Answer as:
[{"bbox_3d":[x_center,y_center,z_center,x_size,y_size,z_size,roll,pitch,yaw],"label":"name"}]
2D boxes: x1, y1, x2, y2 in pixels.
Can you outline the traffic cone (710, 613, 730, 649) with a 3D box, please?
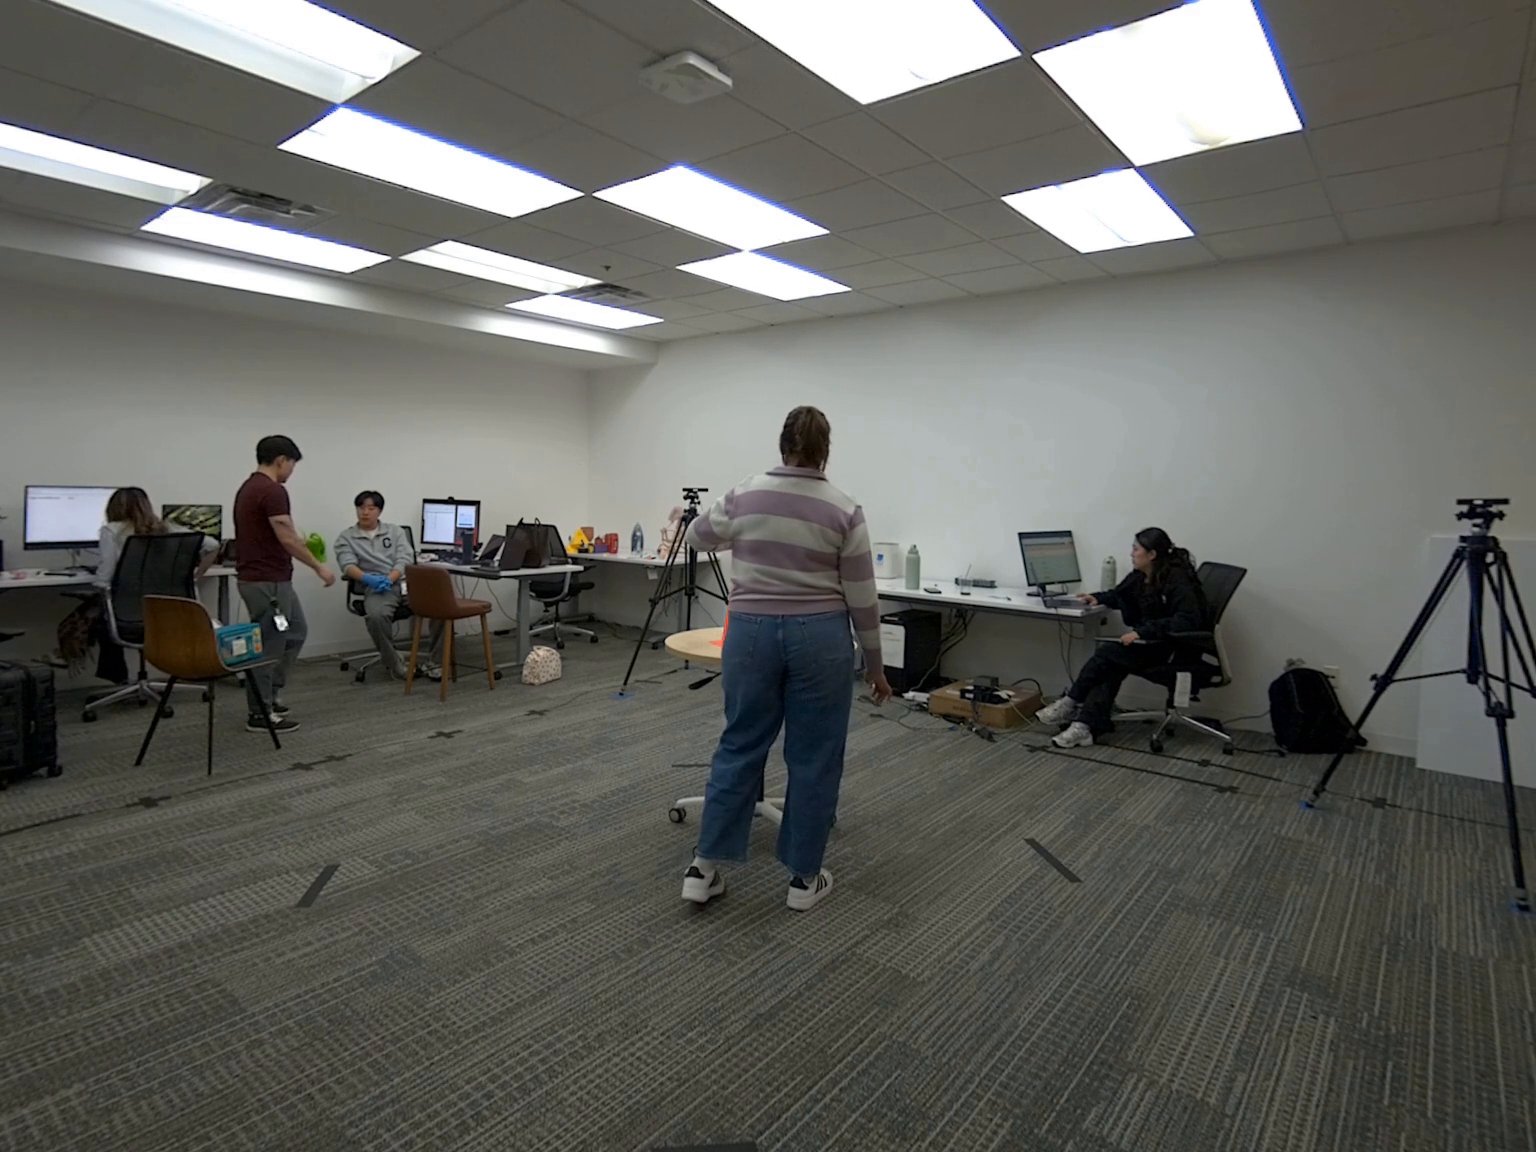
[{"bbox_3d":[-0.109,0.077,3.337,0.198,0.383,0.211,0,3,-29],"label":"traffic cone"}]
